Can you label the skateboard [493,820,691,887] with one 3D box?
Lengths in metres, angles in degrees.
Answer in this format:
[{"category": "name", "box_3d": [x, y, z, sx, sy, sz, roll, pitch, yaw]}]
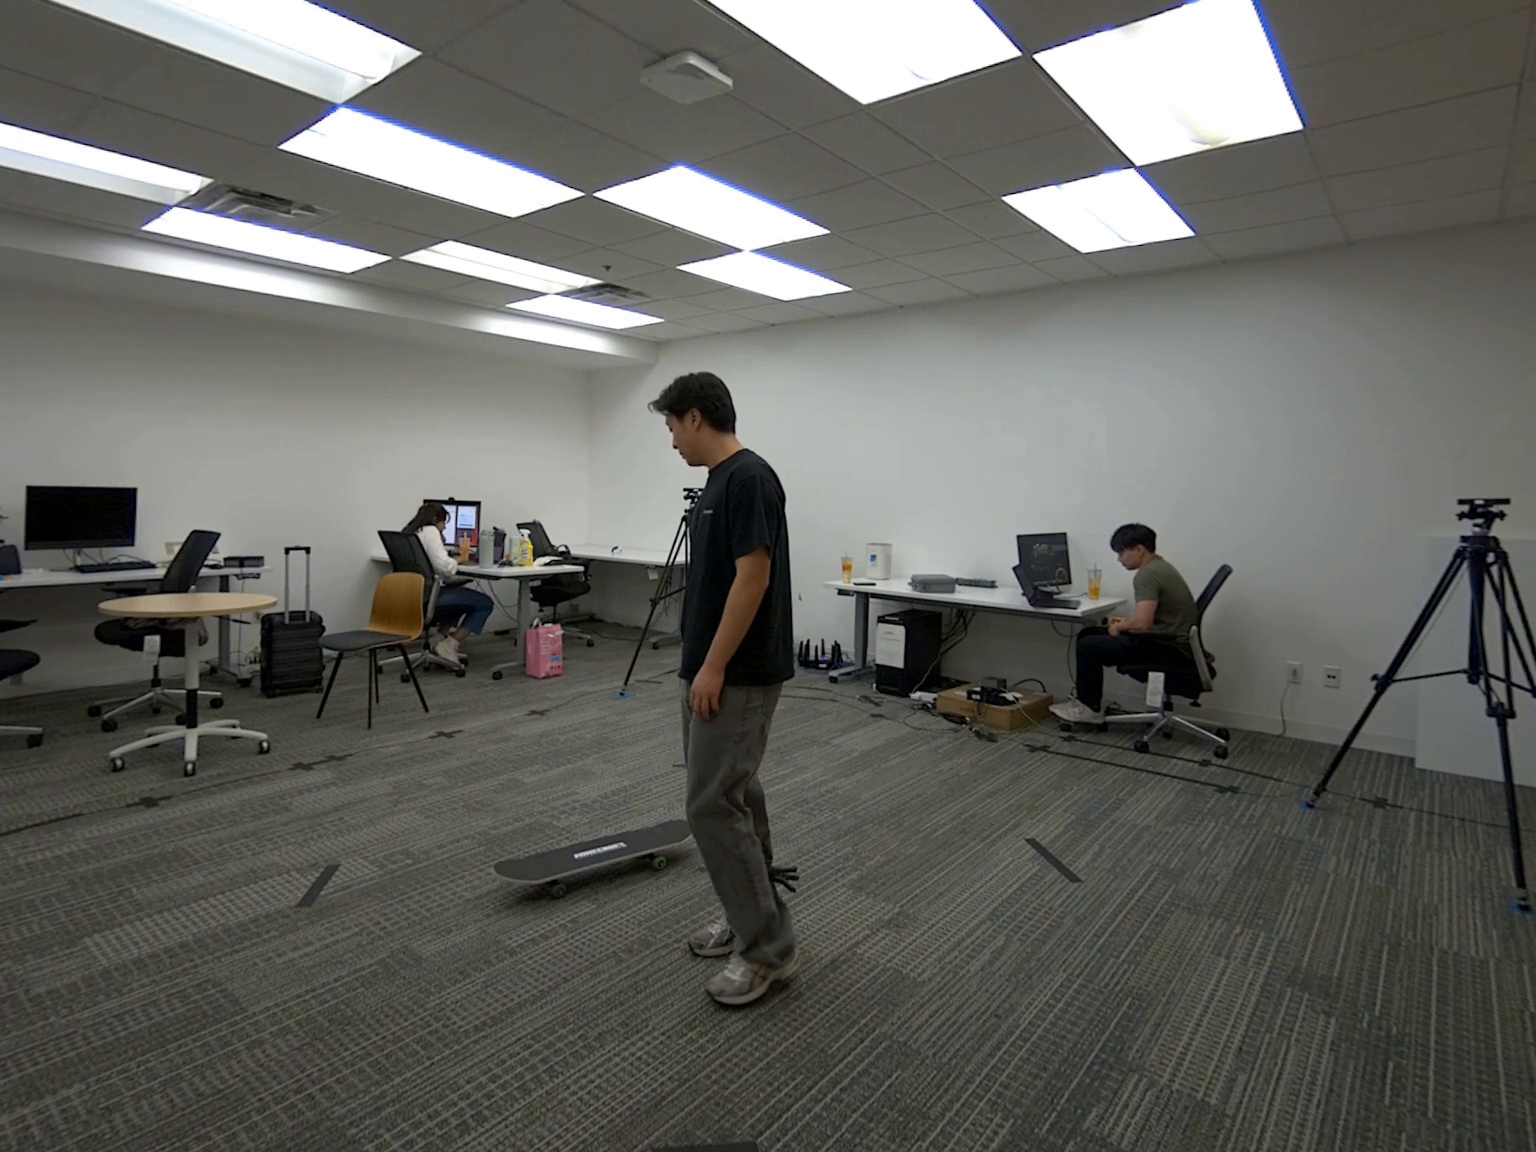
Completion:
[{"category": "skateboard", "box_3d": [-0.609, 1.012, 3.046, 0.763, 0.110, 0.200, -3, 7, -36]}]
